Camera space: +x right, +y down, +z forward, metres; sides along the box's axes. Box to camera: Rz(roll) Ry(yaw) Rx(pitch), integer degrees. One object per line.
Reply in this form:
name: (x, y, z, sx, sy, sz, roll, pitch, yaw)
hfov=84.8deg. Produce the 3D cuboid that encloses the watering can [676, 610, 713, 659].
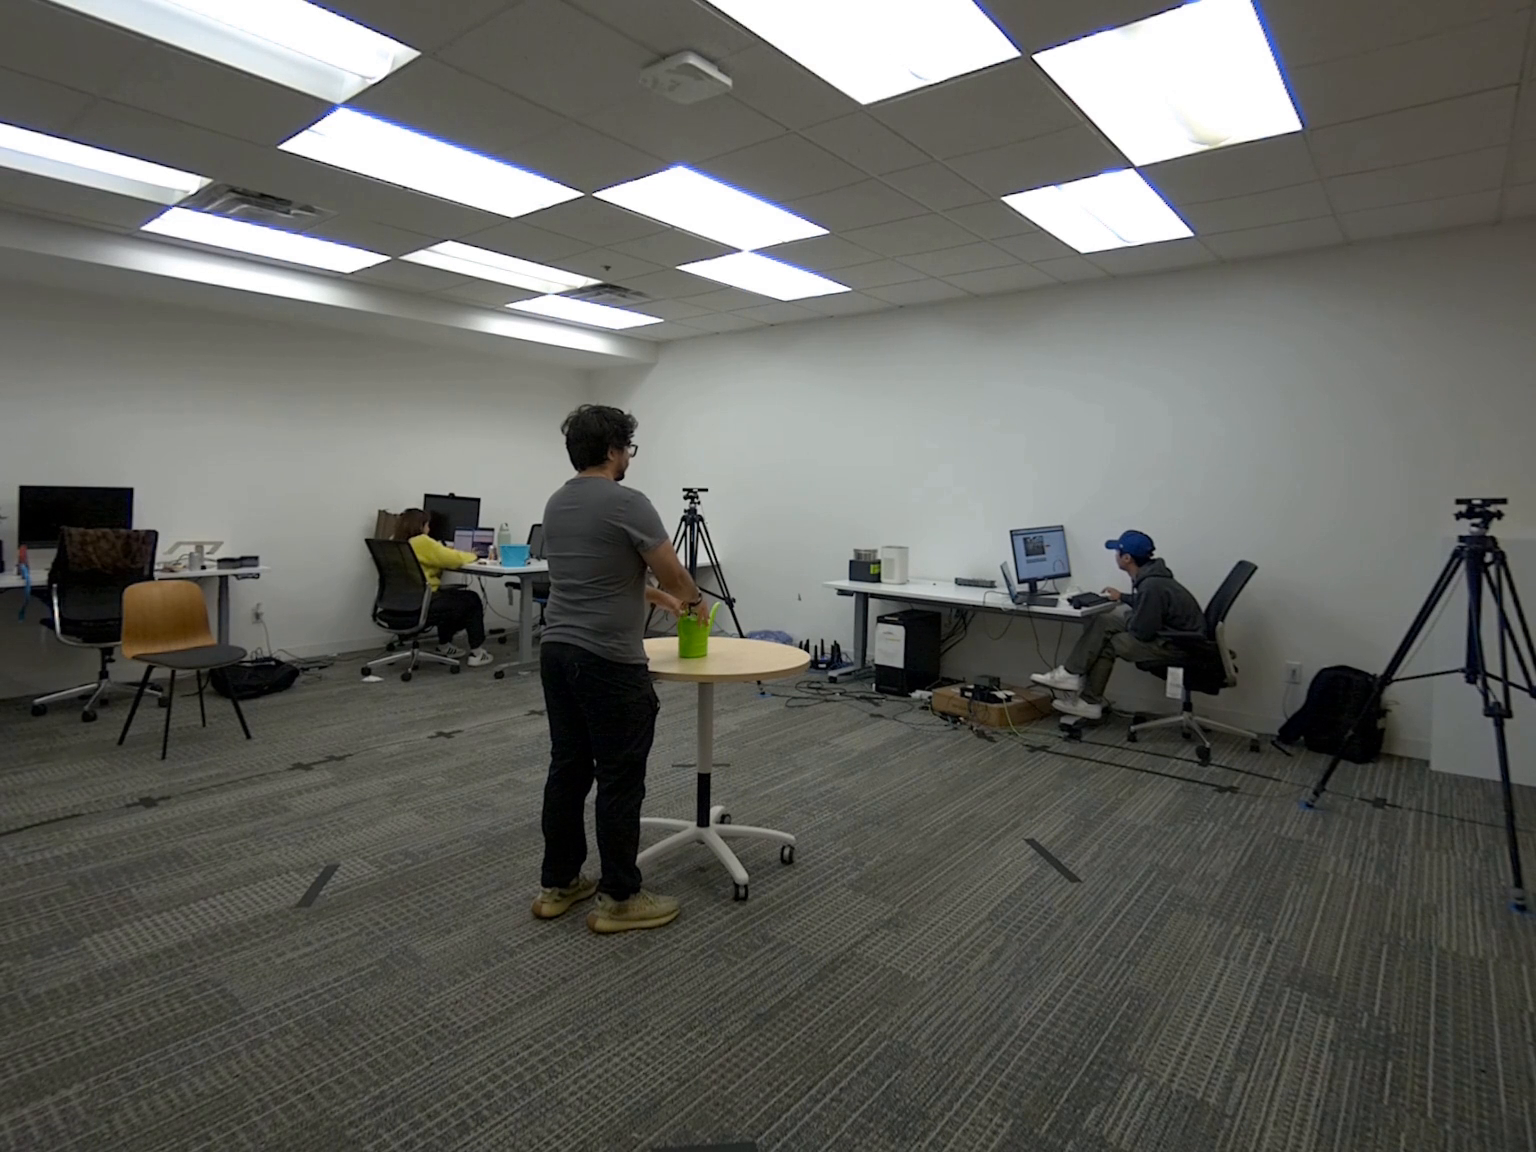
watering can: (-0.253, 0.199, 3.125, 0.101, 0.176, 0.270, 3, 7, 41)
